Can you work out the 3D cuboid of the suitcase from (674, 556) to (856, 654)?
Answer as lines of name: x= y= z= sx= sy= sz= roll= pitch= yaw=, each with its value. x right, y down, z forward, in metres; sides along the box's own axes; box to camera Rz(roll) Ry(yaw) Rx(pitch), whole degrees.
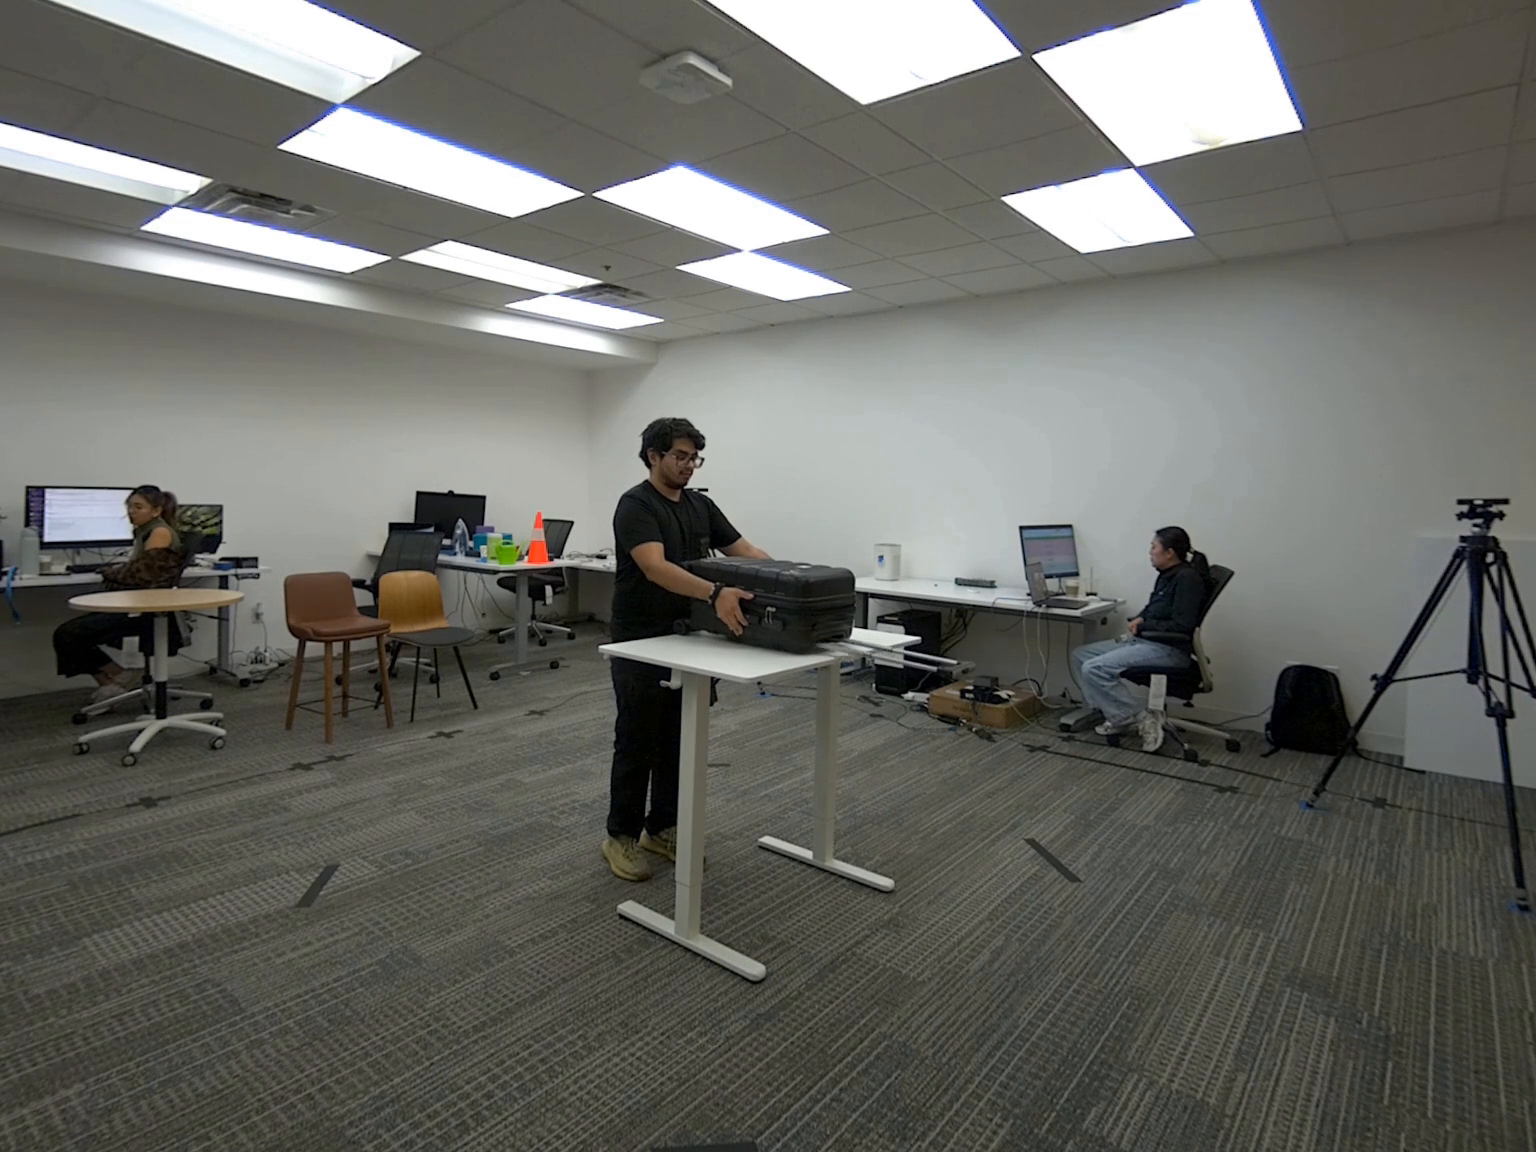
suitcase: x=0.163 y=0.097 z=2.716 sx=1.012 sy=0.256 sz=0.372 roll=6 pitch=5 yaw=40
